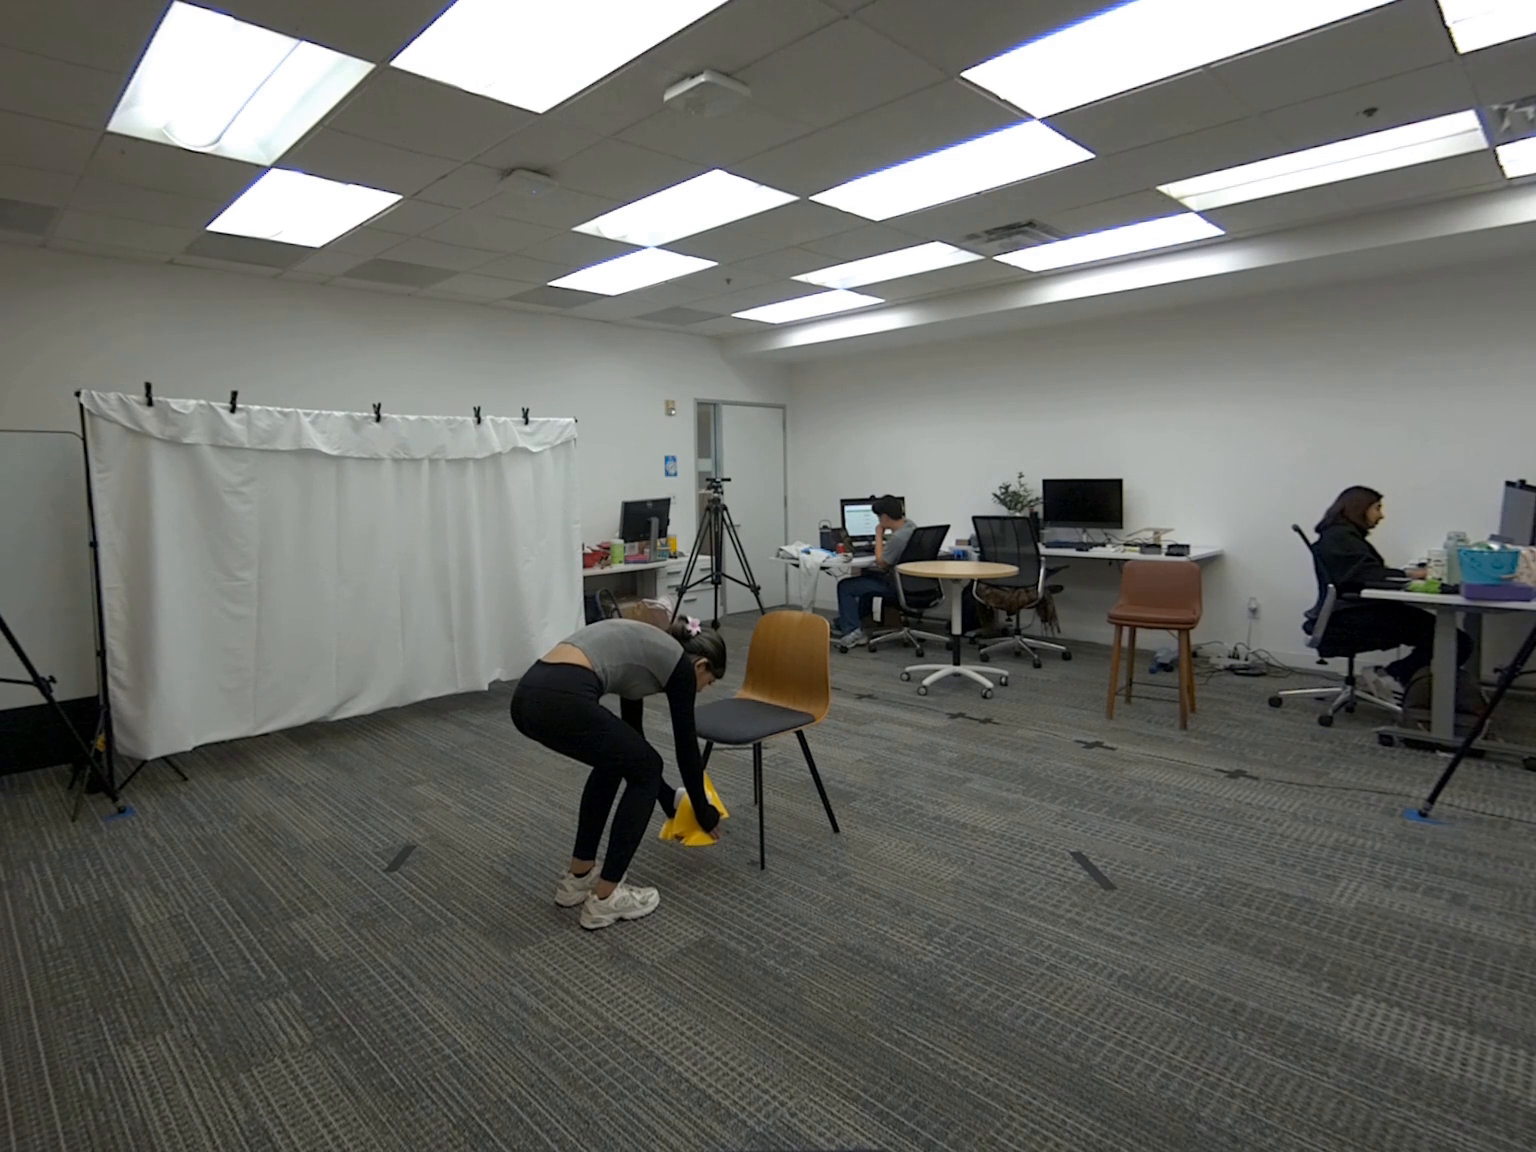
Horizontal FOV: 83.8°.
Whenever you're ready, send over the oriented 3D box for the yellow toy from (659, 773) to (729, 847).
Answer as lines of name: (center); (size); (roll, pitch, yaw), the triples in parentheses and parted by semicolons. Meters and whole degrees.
yellow toy: (-0.263, 0.817, 3.053); (0.210, 0.232, 0.187); (-3, -5, 37)
